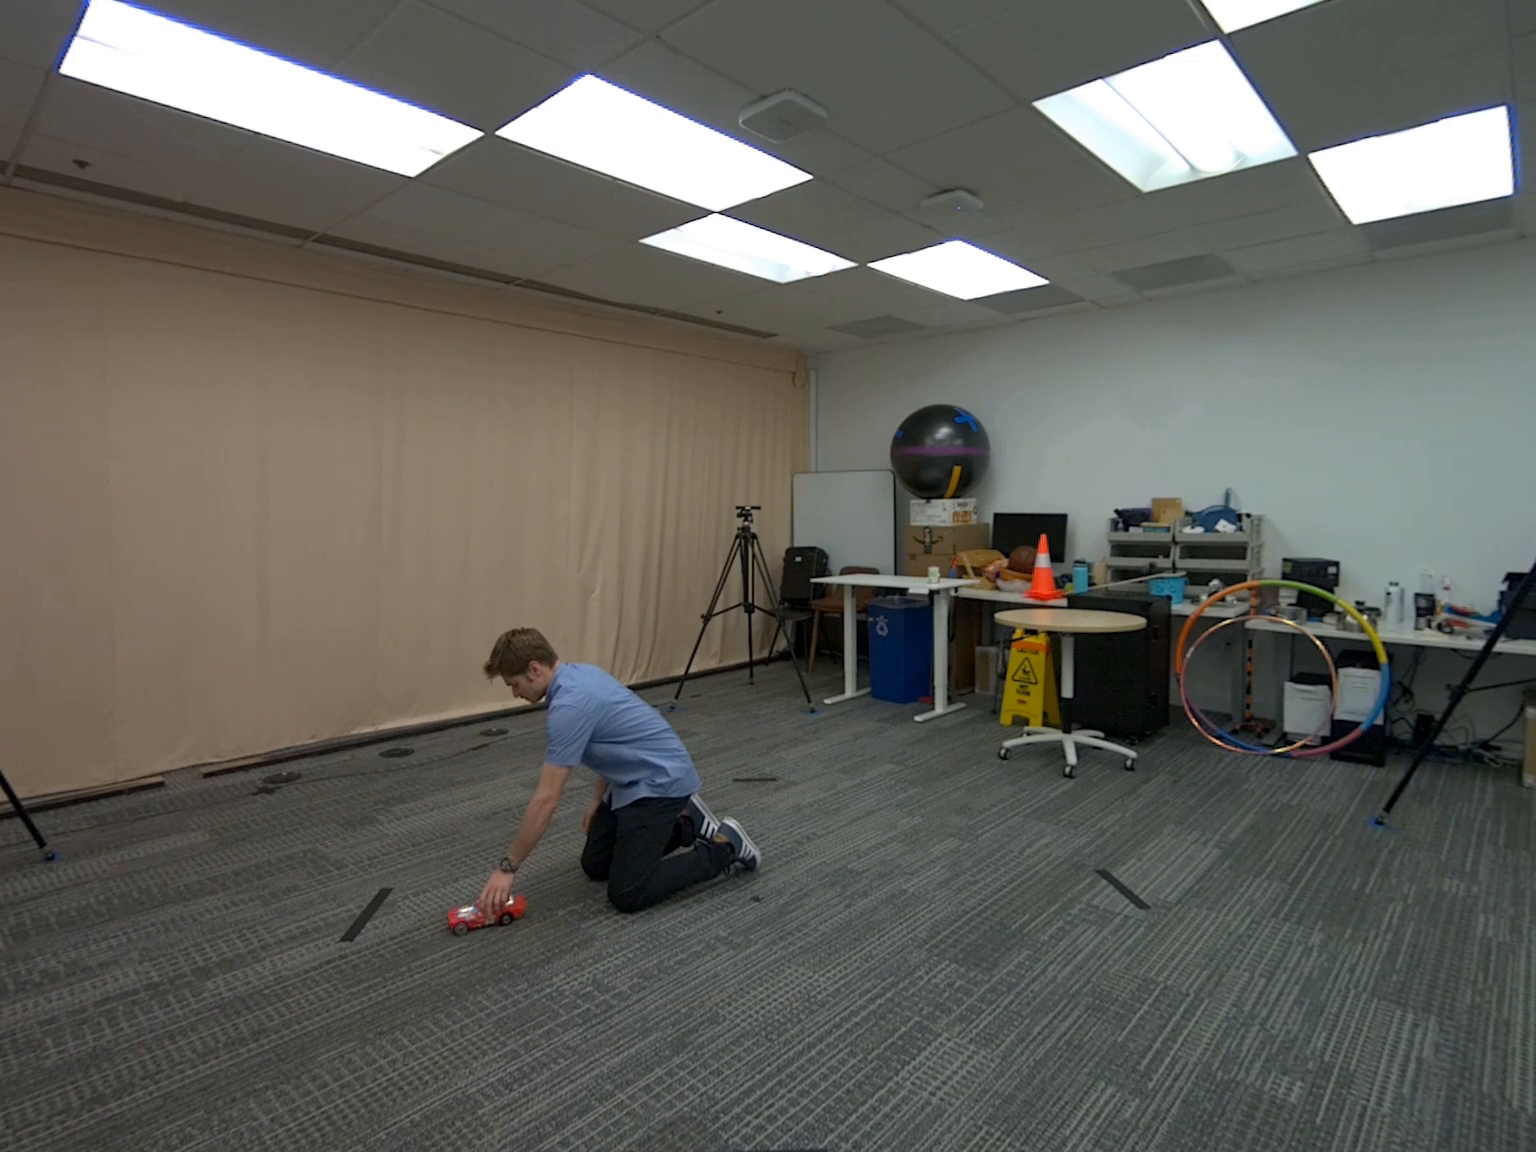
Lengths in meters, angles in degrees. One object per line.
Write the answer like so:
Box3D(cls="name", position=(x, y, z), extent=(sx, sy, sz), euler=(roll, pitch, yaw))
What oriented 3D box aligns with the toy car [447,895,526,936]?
Box3D(cls="toy car", position=(-0.951, 1.137, 2.836), extent=(0.250, 0.083, 0.133), euler=(-14, 9, -22))
